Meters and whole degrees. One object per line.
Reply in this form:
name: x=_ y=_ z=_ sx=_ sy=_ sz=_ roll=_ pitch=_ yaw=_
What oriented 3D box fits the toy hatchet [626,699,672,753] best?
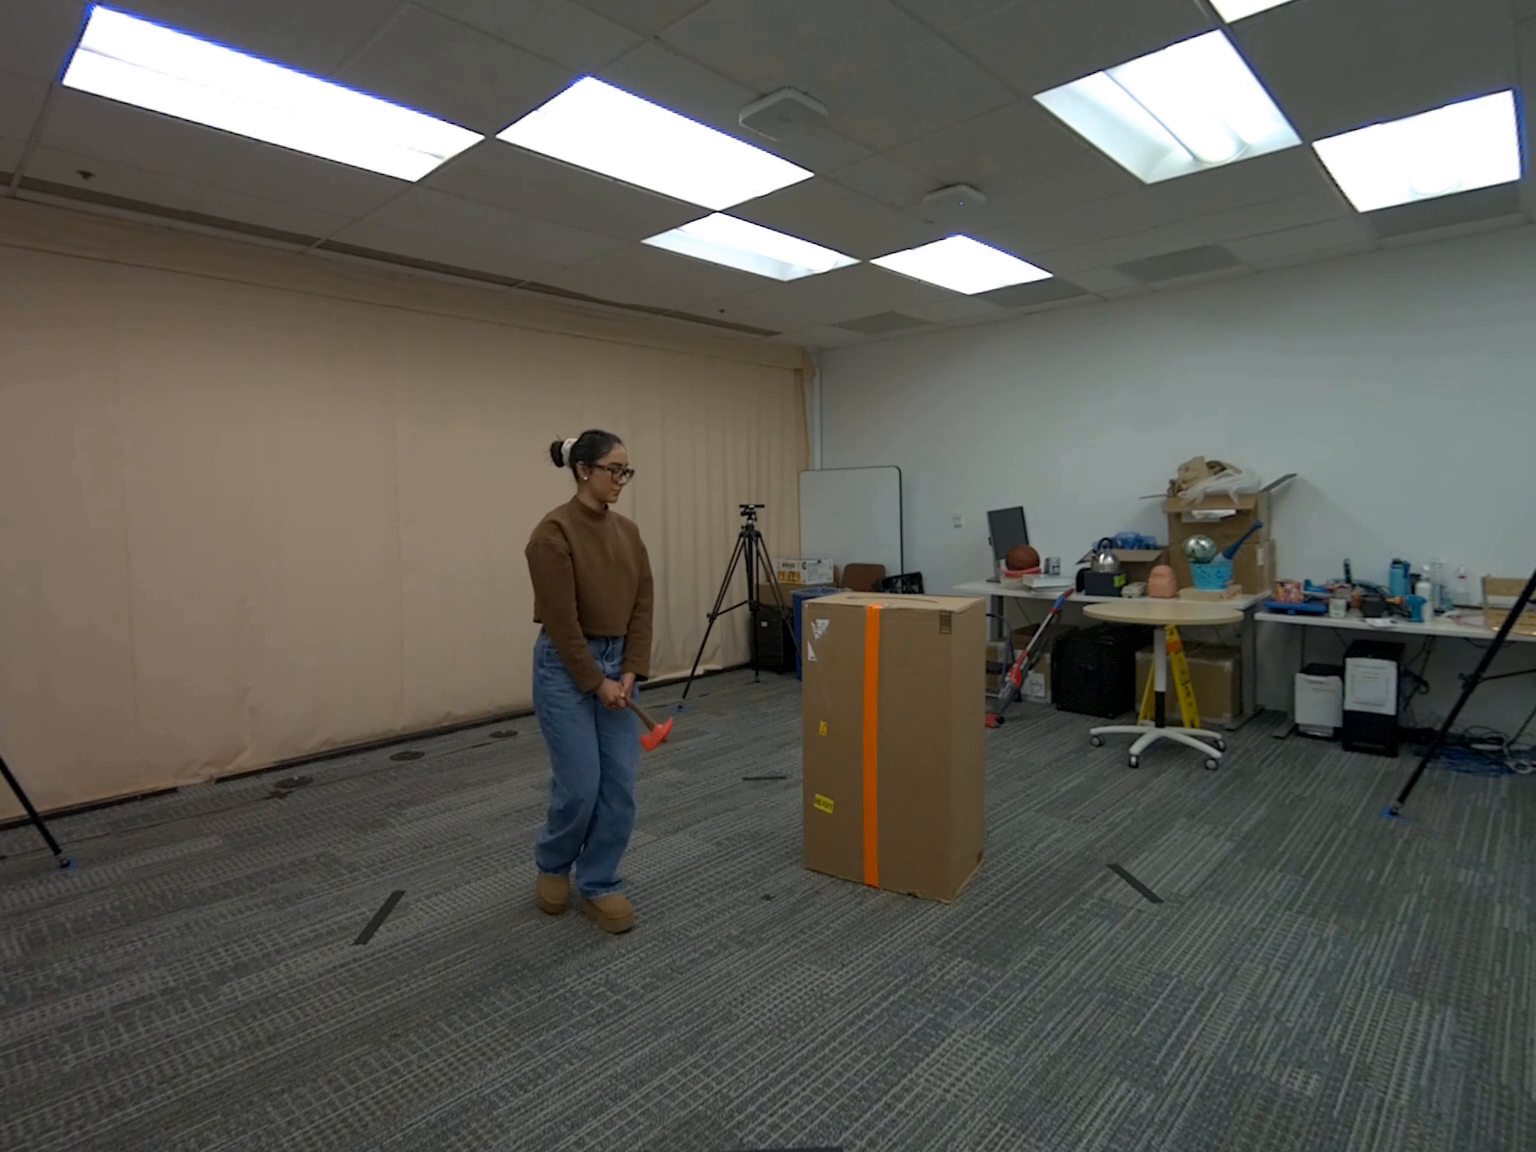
toy hatchet: x=-0.428 y=0.467 z=2.683 sx=0.278 sy=0.131 sz=0.029 roll=22 pitch=3 yaw=28
